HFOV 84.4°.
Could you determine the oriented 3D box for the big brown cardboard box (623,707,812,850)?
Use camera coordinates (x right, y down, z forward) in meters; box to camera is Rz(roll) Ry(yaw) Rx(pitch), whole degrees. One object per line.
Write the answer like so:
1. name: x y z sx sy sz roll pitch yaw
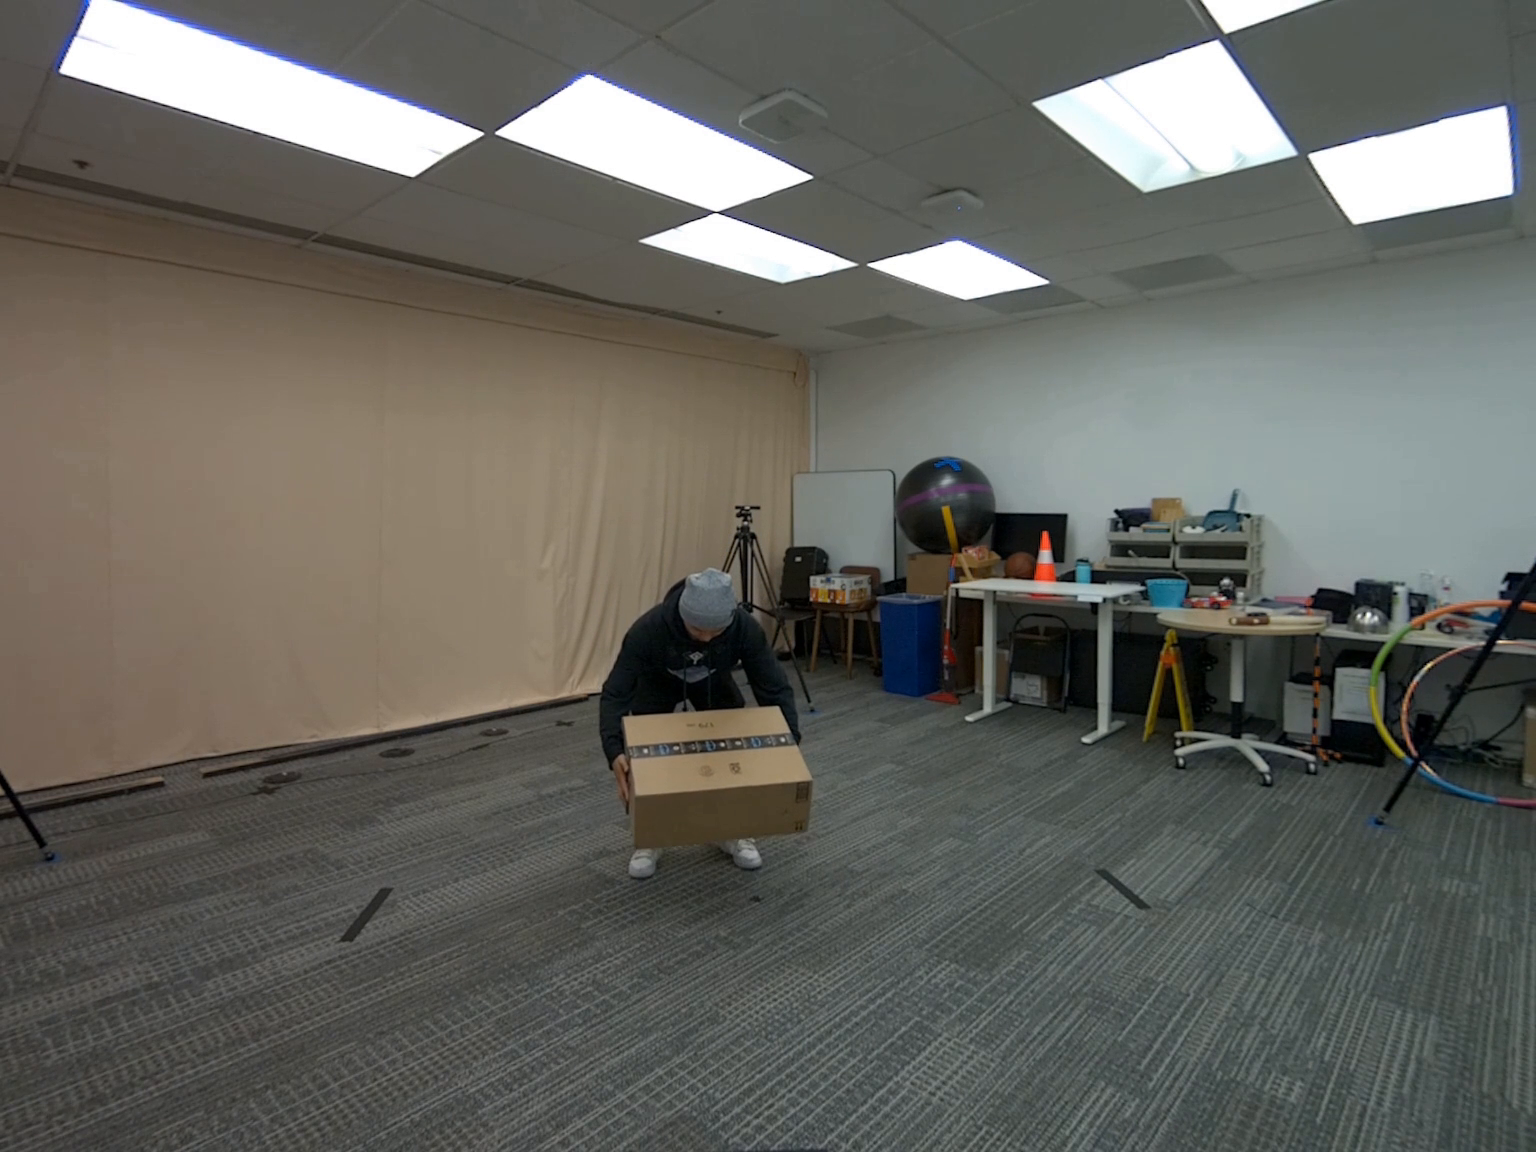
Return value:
1. big brown cardboard box: -0.190 0.662 2.824 0.582 0.230 0.428 -3 25 -11
